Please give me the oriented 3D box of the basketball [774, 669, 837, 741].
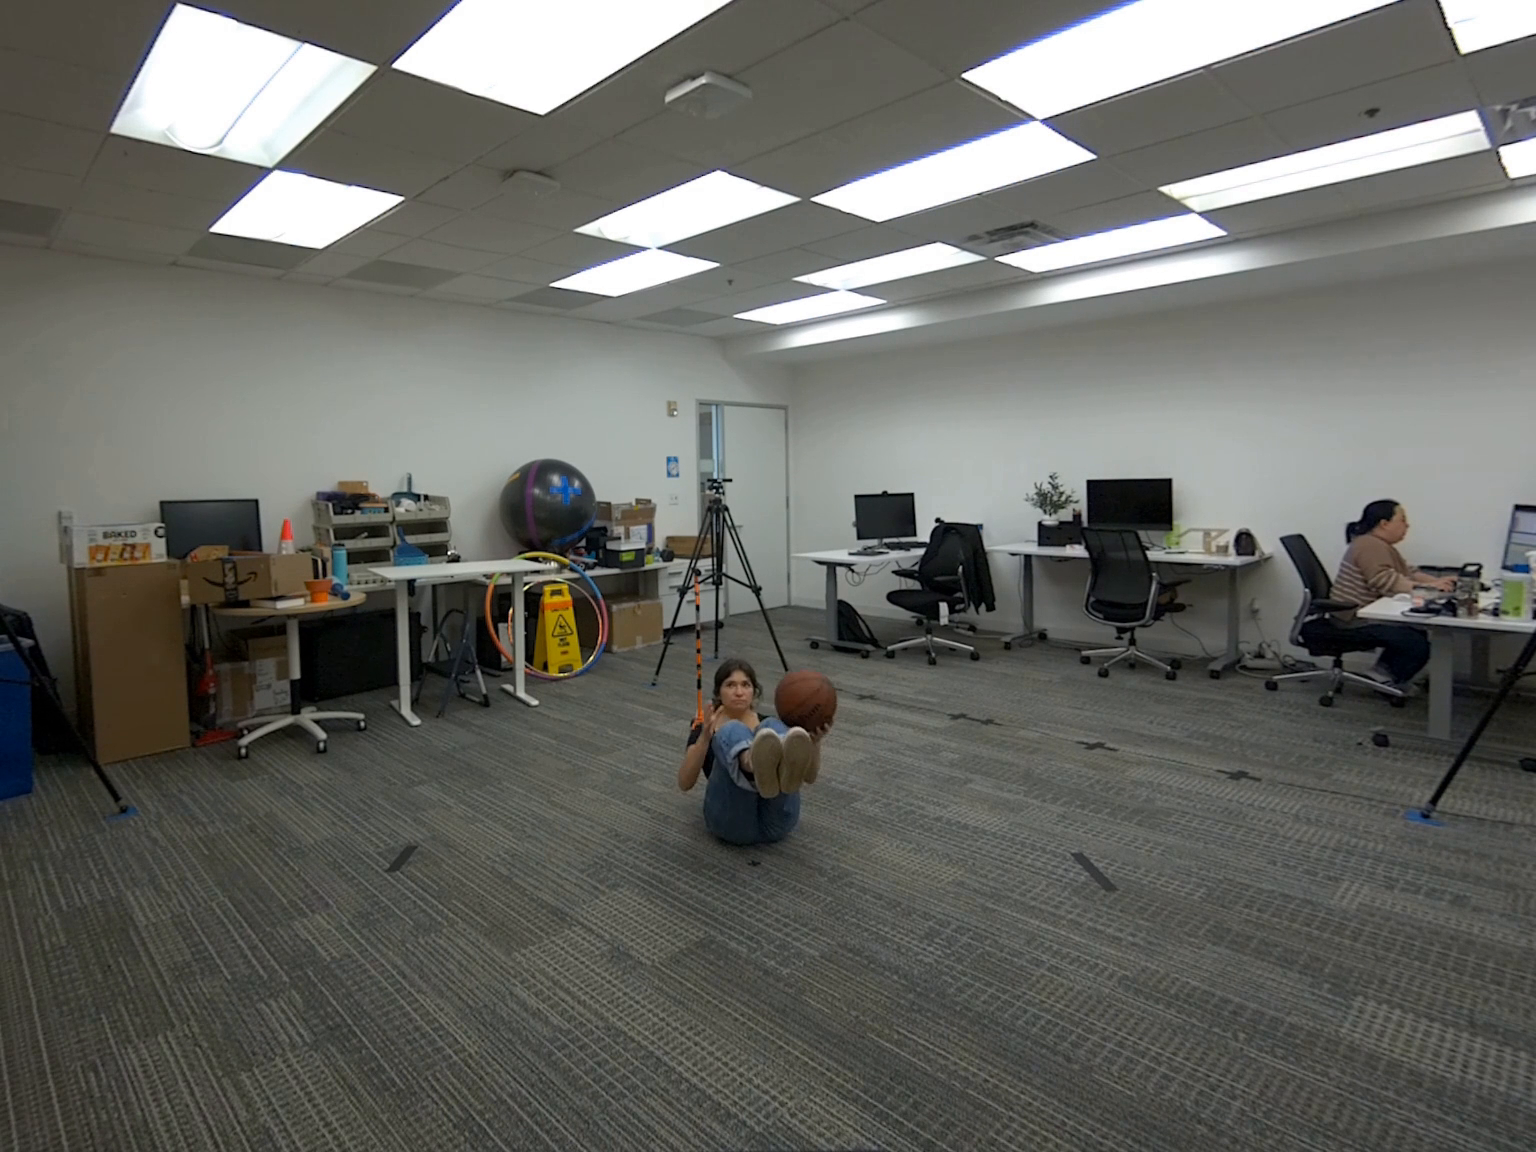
[{"bbox_3d":[0.128,0.490,3.243,0.236,0.235,0.237,-1,5,-2],"label":"basketball"}]
